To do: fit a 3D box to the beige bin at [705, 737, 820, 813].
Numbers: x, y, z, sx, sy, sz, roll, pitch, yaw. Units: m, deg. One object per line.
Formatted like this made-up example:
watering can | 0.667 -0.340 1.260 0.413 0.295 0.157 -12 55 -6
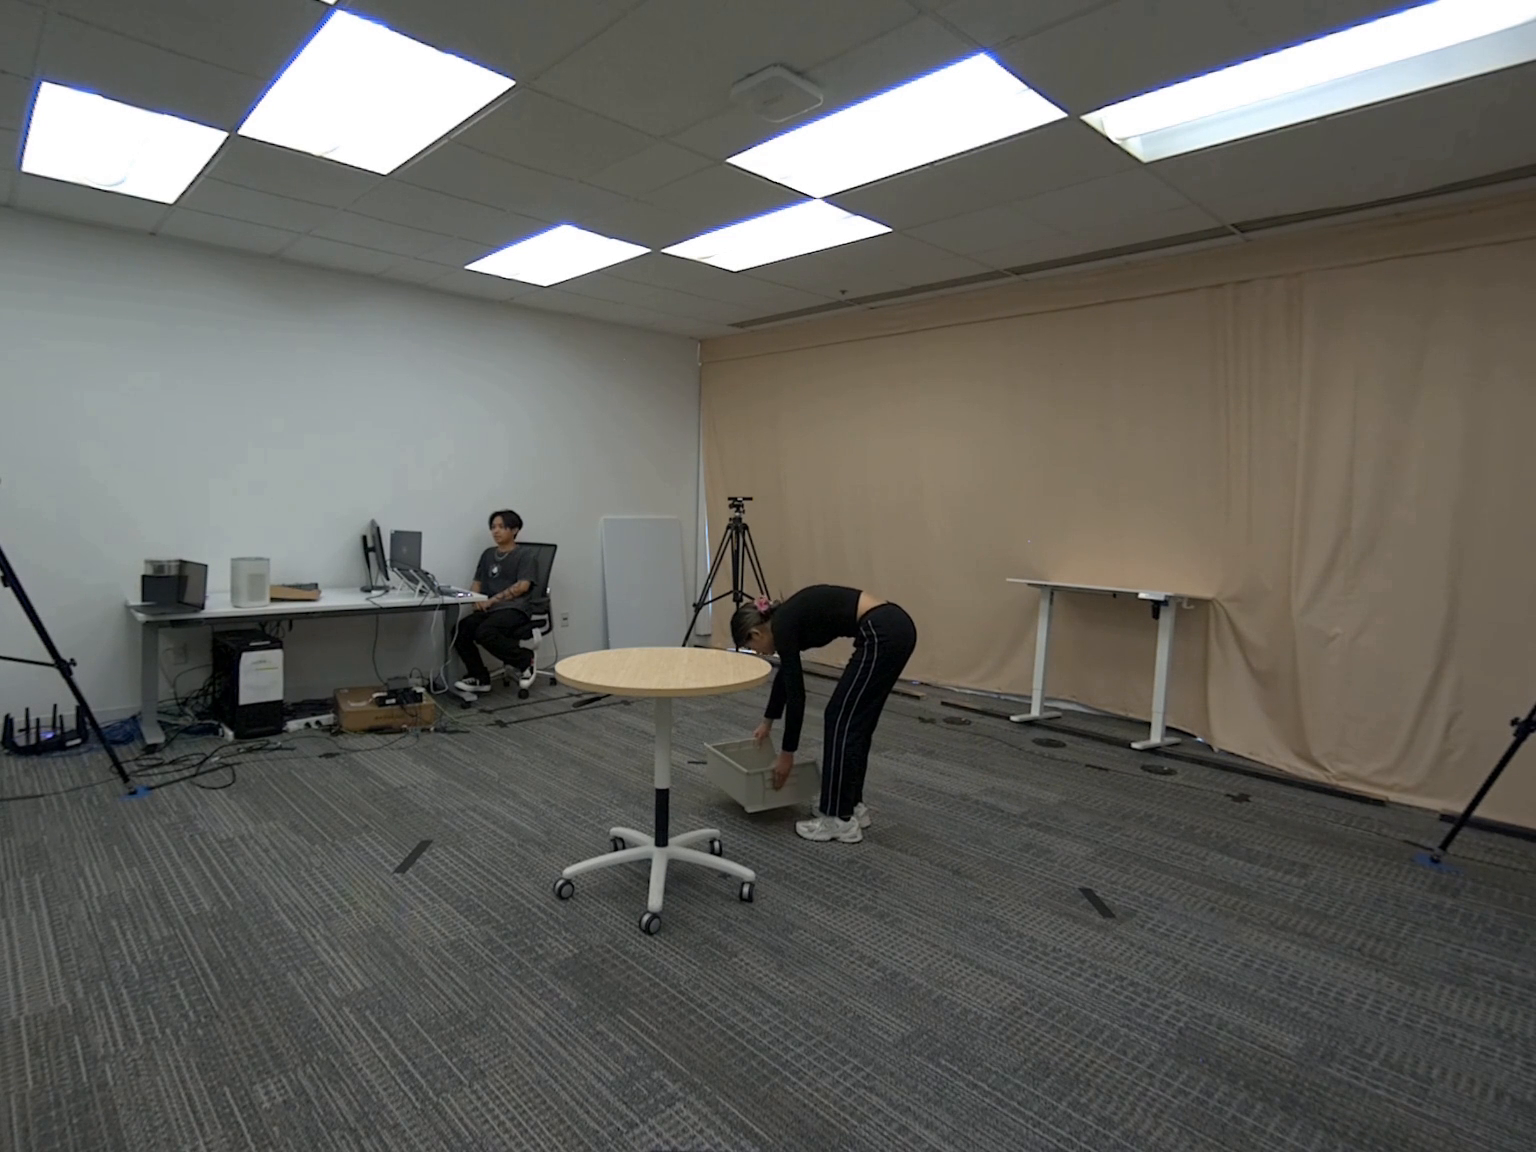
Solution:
beige bin | -0.037 0.861 3.753 0.370 0.188 0.432 -3 8 -28
